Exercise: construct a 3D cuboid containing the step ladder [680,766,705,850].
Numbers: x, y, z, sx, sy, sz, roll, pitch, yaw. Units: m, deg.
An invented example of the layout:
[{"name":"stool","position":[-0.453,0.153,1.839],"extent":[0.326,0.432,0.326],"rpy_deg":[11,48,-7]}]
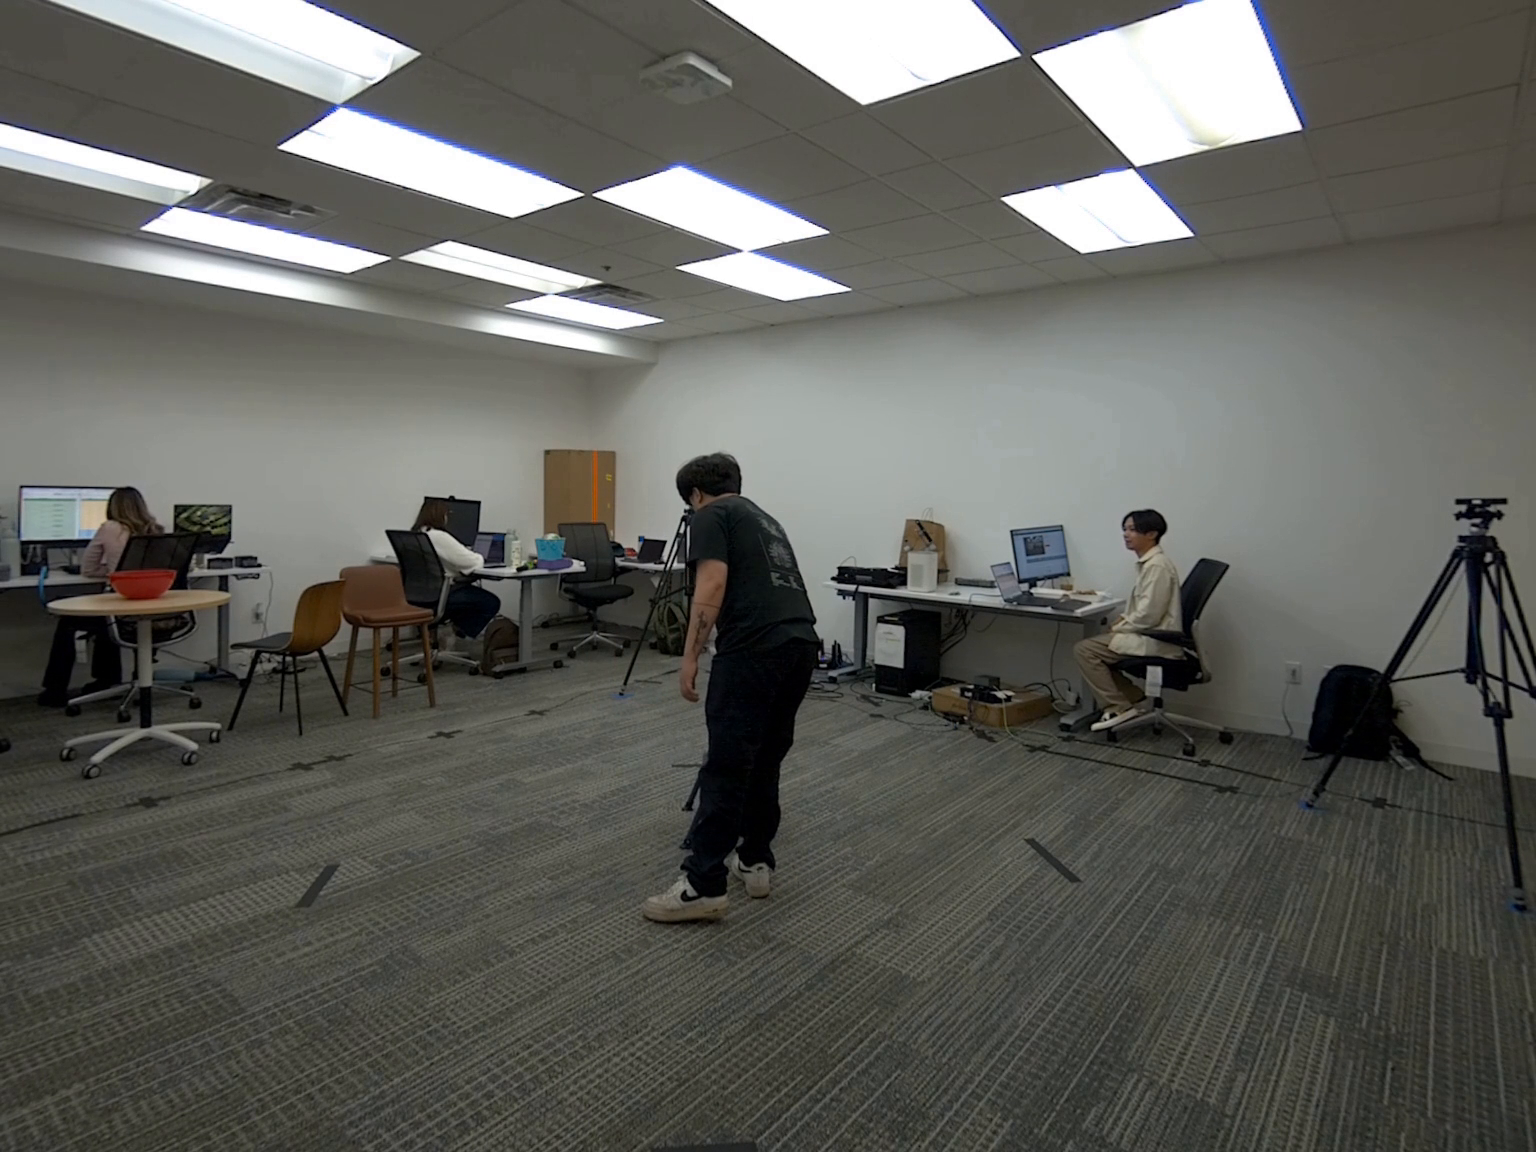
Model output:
[{"name":"step ladder","position":[-0.180,0.726,3.477],"extent":[0.348,0.604,0.433],"rpy_deg":[1,4,-4]}]
